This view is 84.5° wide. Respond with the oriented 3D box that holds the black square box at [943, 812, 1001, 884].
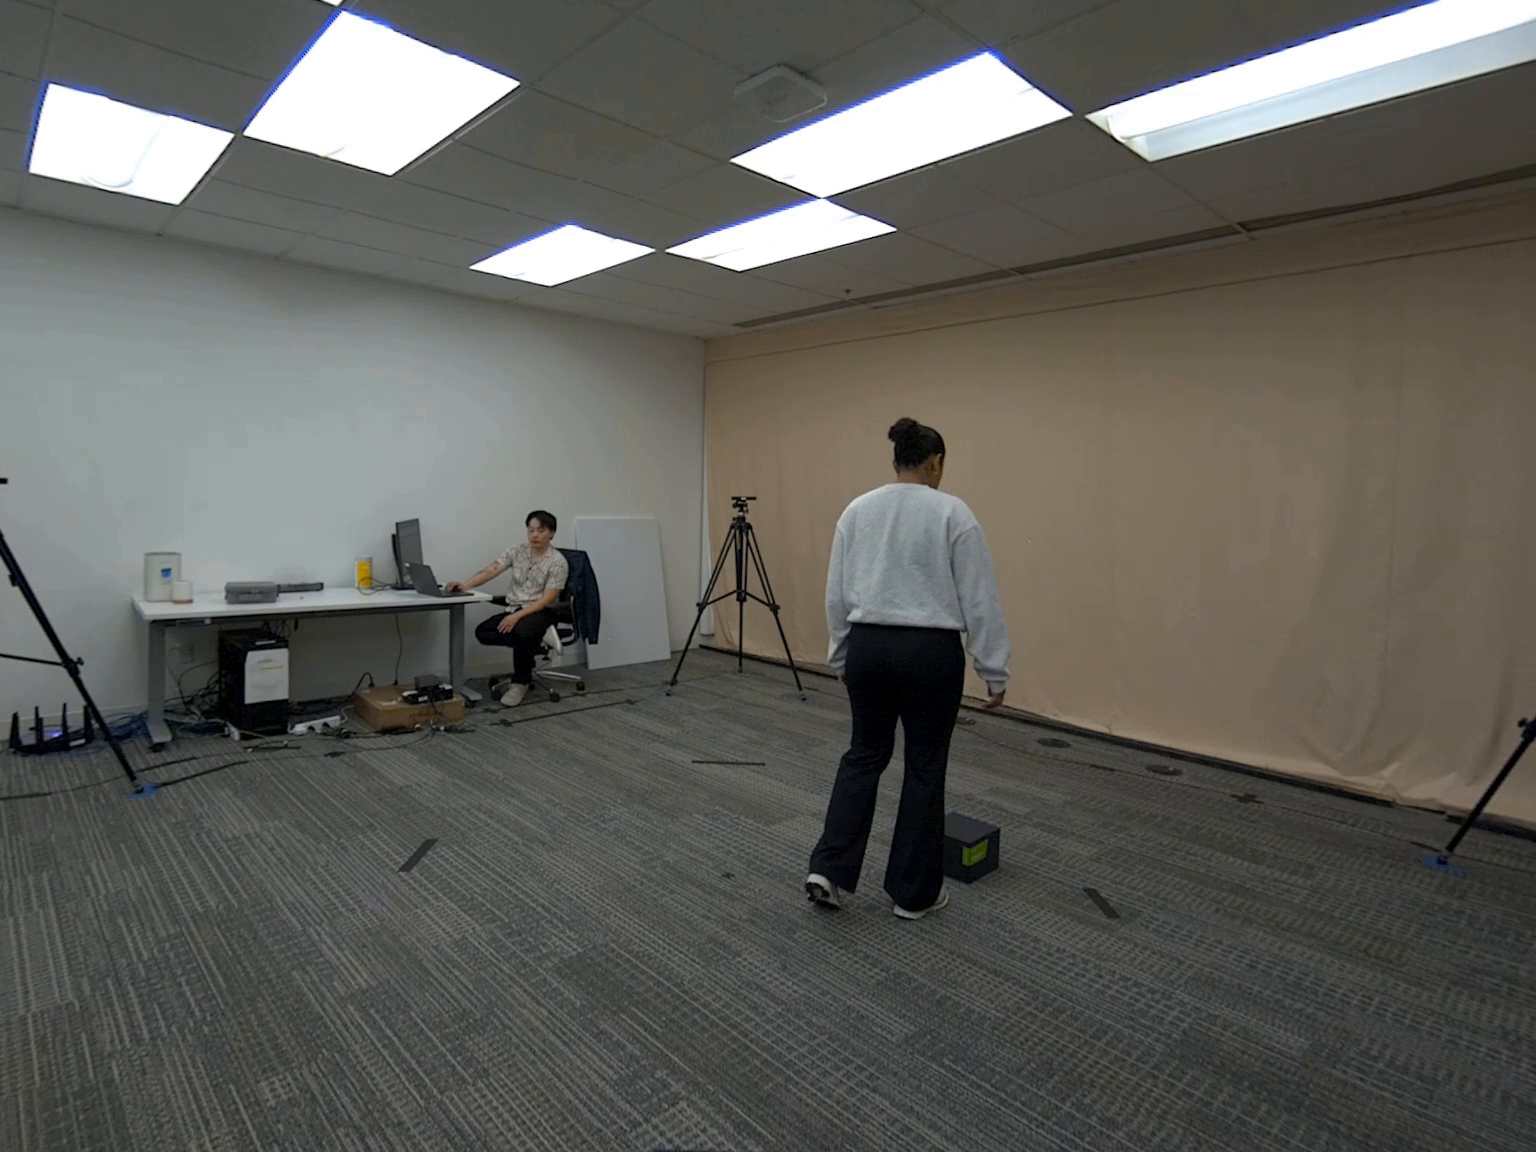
[{"bbox_3d":[0.726,1.035,3.228,0.222,0.155,0.223,6,6,43],"label":"black square box"}]
